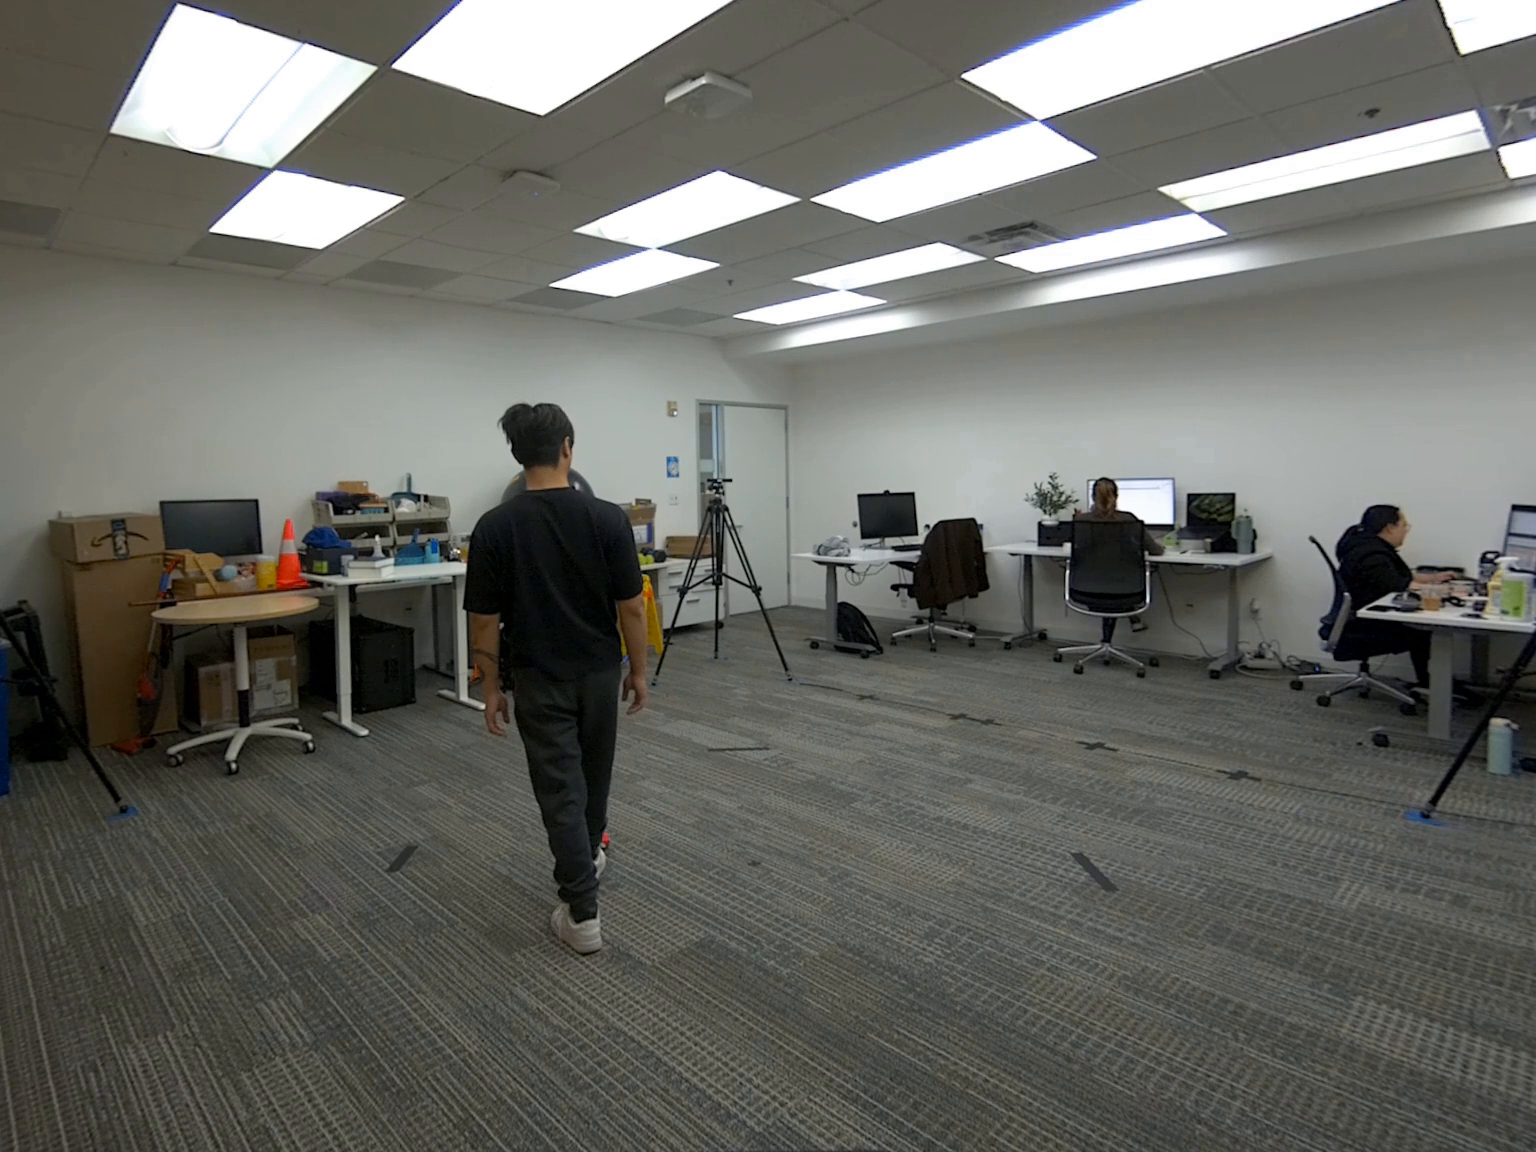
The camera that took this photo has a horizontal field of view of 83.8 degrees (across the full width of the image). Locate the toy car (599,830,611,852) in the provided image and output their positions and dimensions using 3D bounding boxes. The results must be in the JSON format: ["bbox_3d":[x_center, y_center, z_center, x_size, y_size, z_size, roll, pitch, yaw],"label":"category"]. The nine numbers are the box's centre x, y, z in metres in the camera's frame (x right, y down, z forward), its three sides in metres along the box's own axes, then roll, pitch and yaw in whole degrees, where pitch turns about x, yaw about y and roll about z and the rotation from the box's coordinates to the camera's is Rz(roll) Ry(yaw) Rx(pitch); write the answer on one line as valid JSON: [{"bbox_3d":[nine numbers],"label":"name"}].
[{"bbox_3d":[-0.684,1.008,3.288,0.127,0.084,0.258,-4,-4,-25],"label":"toy car"}]
